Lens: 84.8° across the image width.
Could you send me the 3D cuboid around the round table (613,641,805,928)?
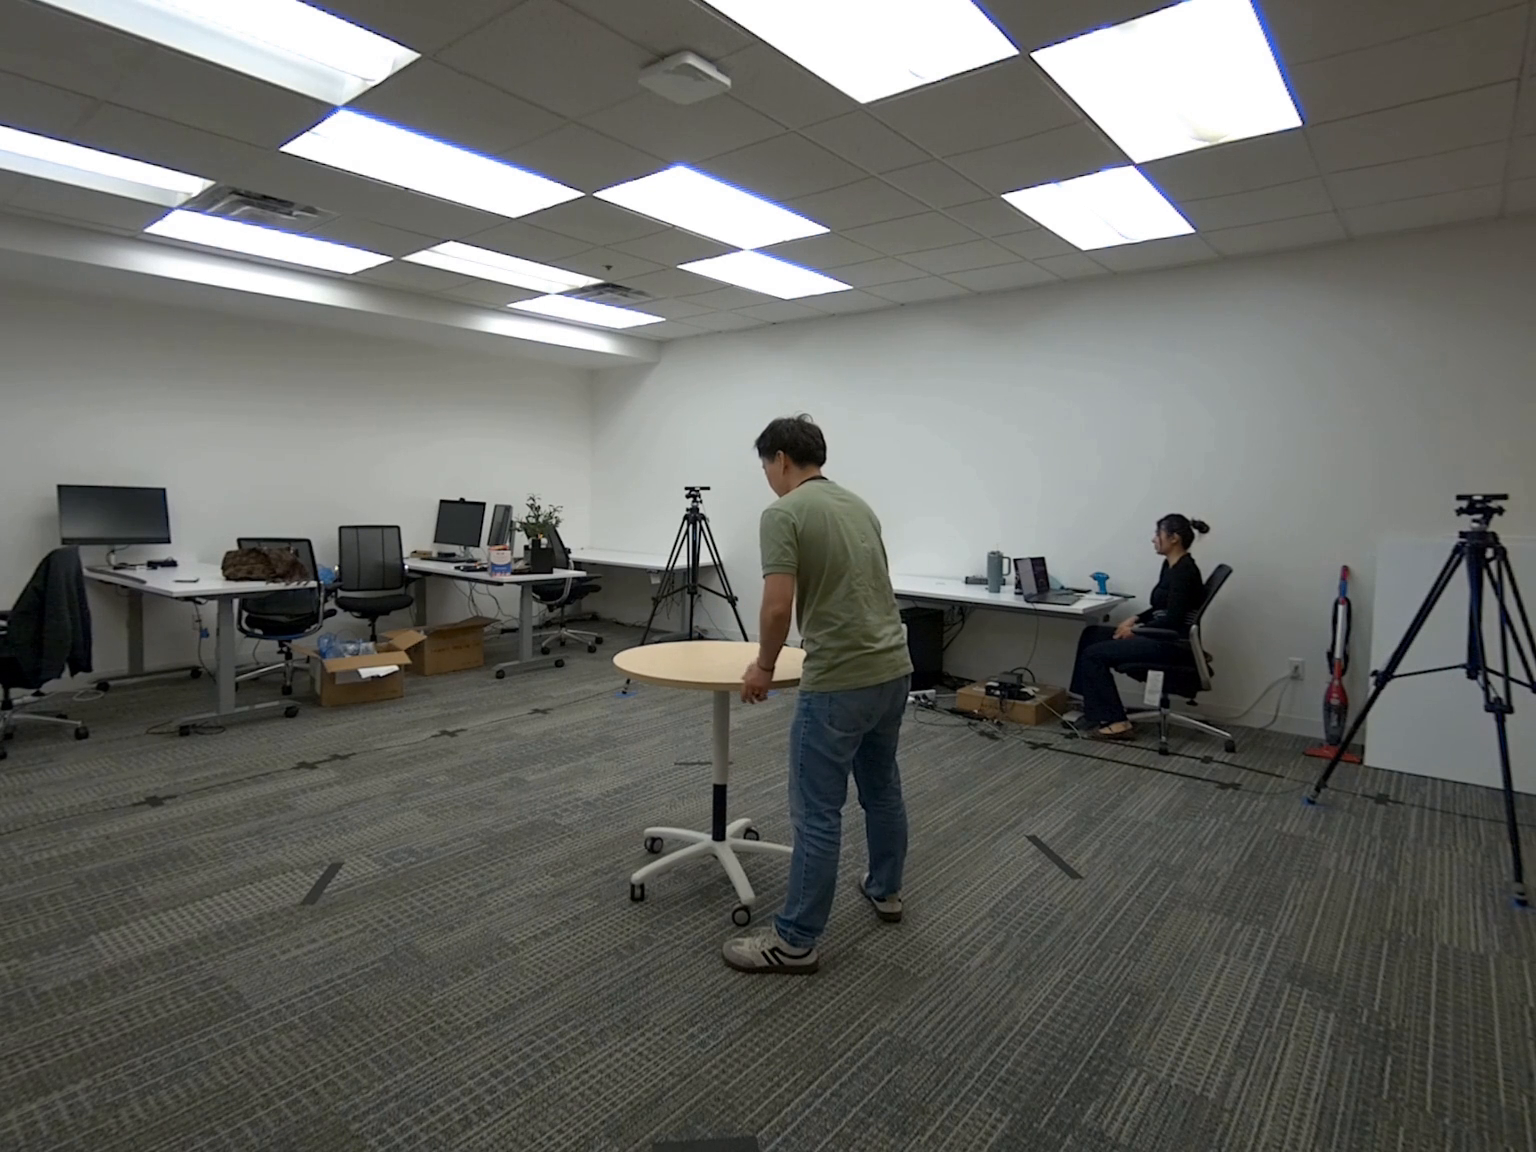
[{"bbox_3d":[-0.179,0.686,3.021,0.763,0.791,0.767,1,4,-2],"label":"round table"}]
